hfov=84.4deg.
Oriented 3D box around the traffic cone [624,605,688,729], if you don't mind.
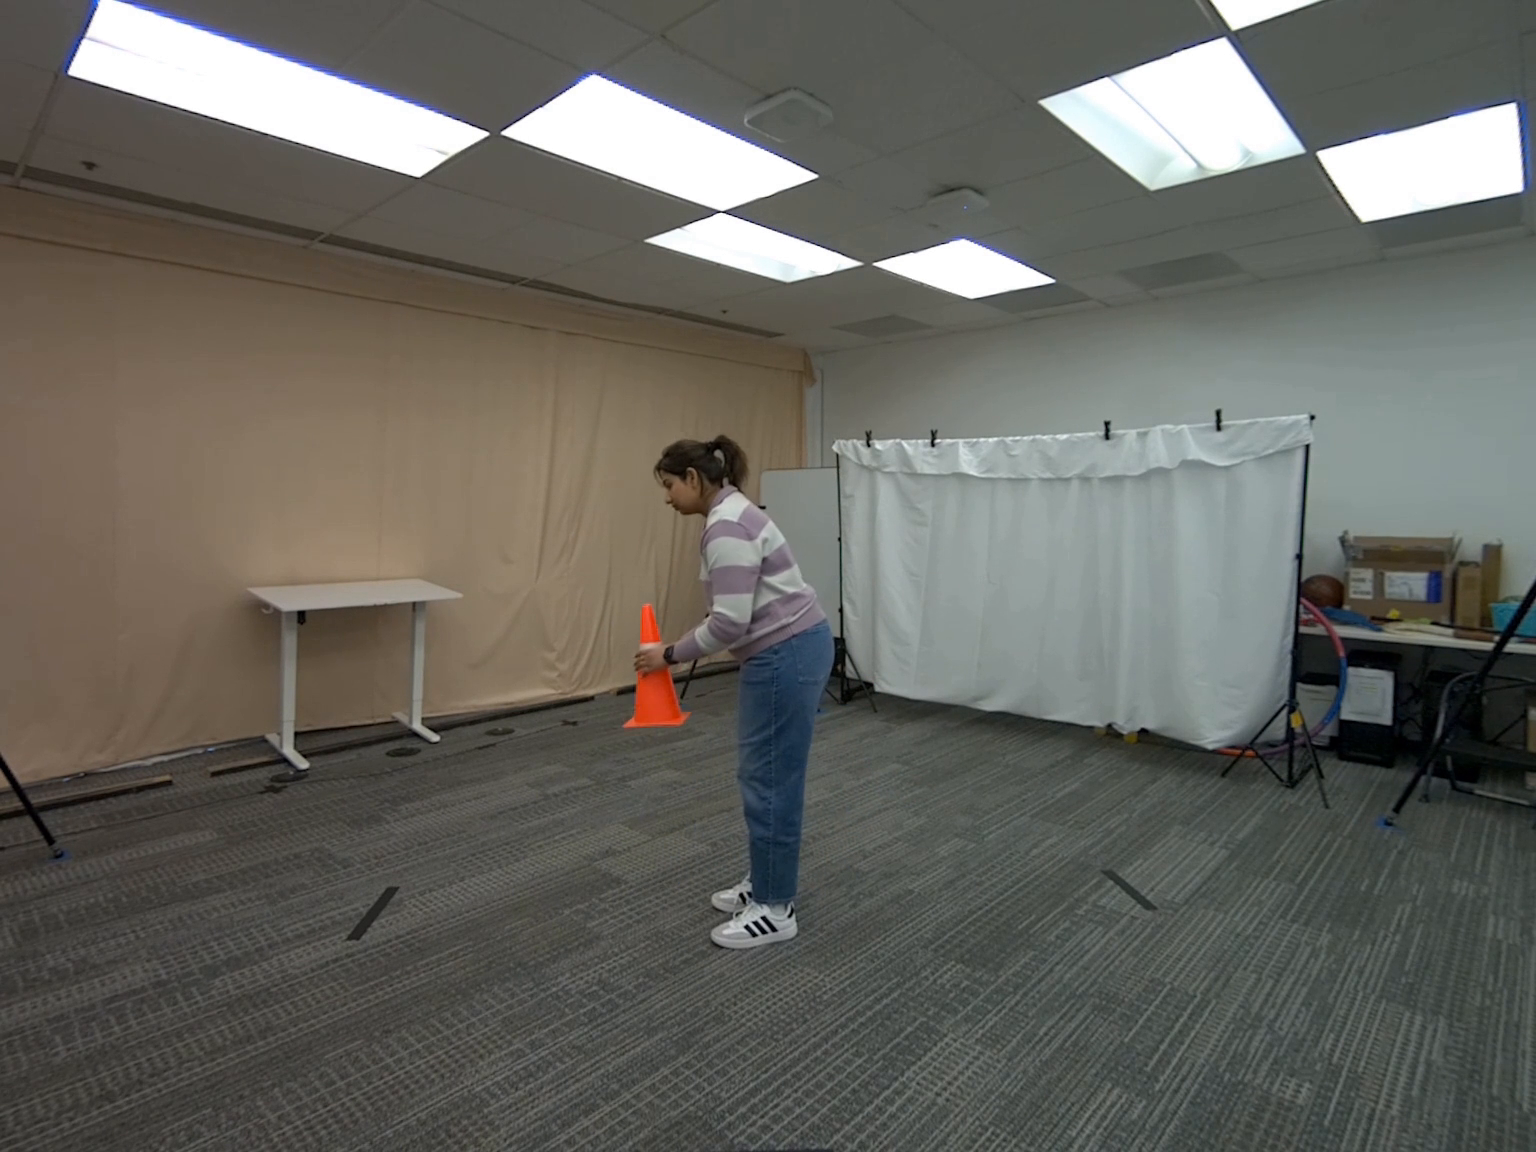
[{"bbox_3d":[-0.379,0.298,2.801,0.206,0.384,0.202,-5,-2,11],"label":"traffic cone"}]
